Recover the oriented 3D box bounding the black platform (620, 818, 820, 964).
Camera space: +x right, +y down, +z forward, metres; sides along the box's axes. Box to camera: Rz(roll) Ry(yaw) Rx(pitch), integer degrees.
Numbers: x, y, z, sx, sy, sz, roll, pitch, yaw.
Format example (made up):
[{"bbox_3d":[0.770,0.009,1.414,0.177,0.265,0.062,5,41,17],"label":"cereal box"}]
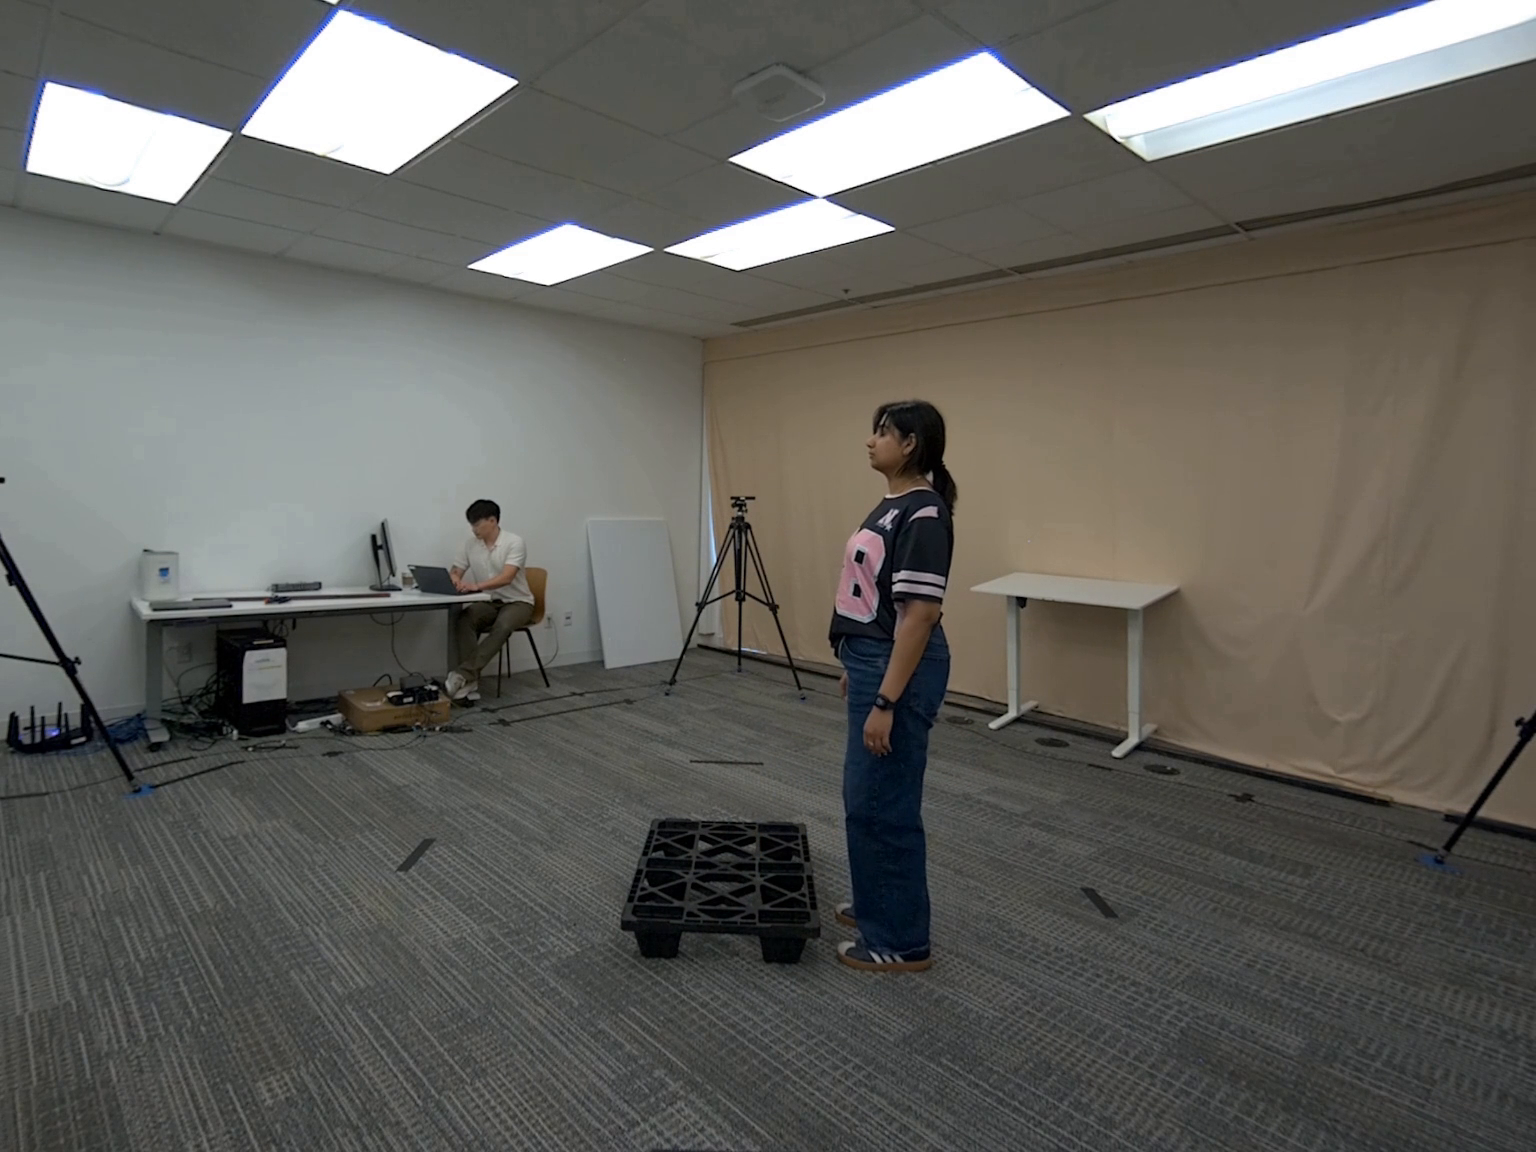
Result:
[{"bbox_3d":[-0.151,1.059,2.893,0.606,0.143,0.807,2,6,0],"label":"black platform"}]
